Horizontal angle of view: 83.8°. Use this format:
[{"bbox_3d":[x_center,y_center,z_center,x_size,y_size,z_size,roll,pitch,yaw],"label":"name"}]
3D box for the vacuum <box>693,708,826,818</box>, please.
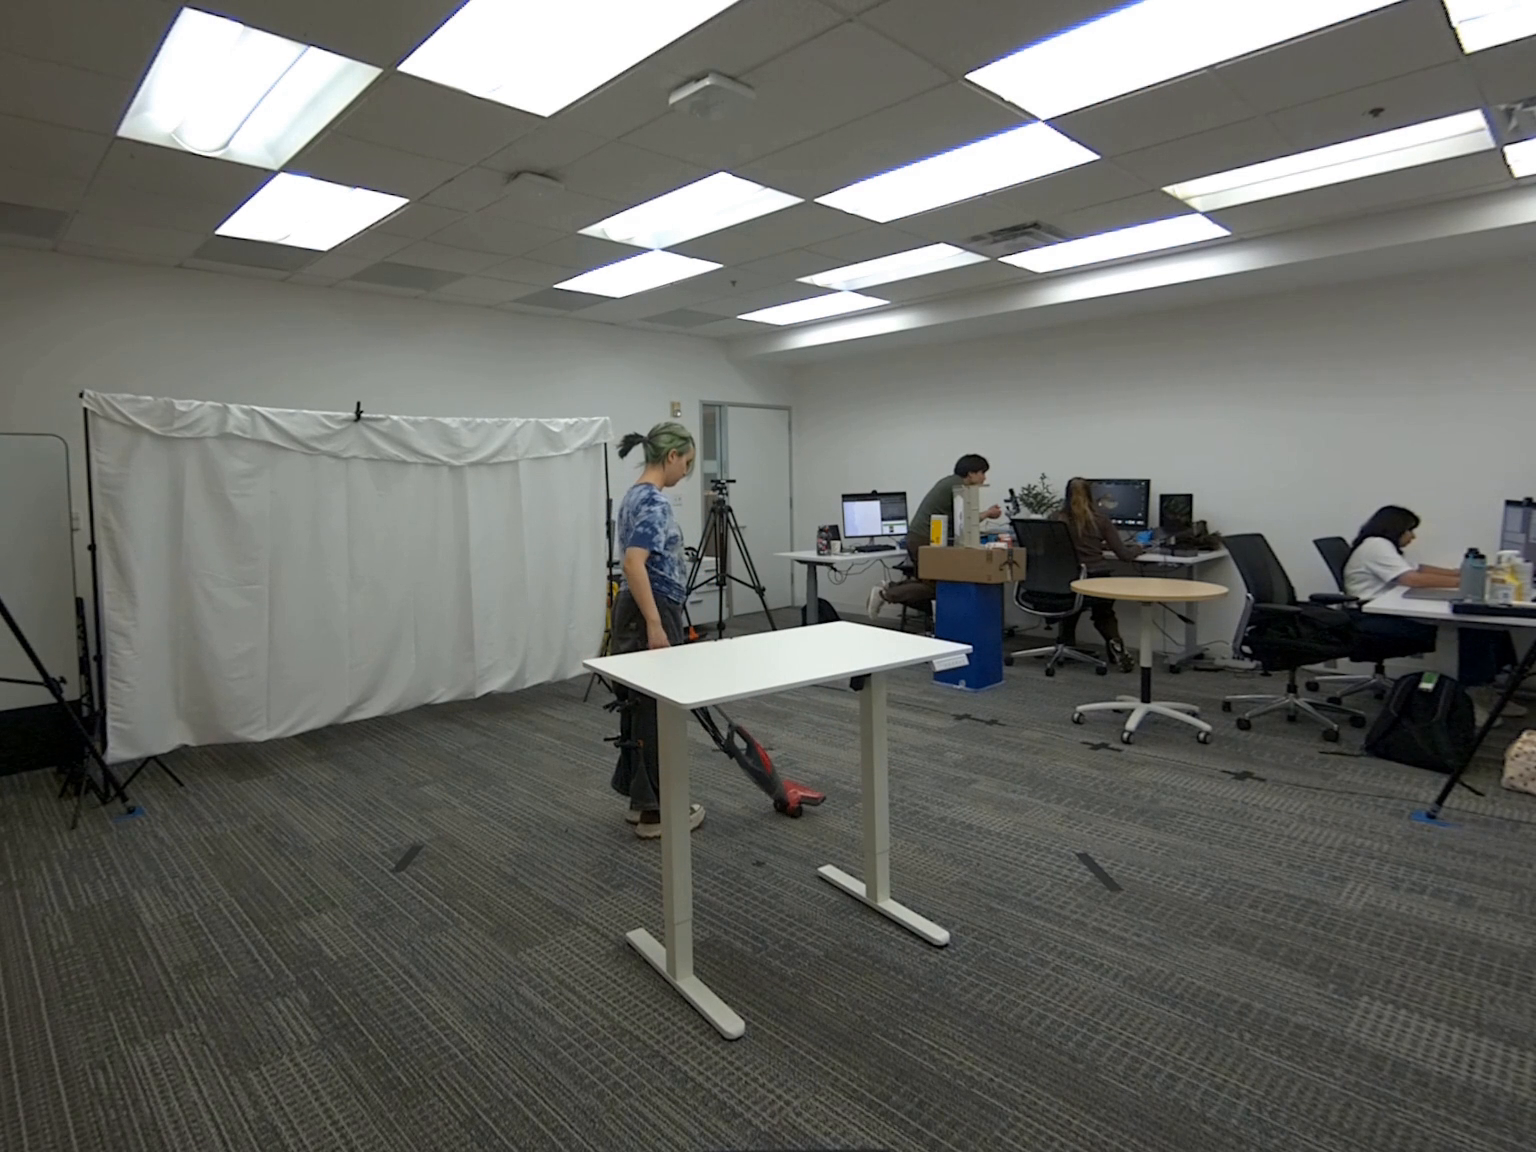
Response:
[{"bbox_3d":[-0.156,0.619,3.366,0.260,0.145,1.015,0,-41,50],"label":"vacuum"}]
